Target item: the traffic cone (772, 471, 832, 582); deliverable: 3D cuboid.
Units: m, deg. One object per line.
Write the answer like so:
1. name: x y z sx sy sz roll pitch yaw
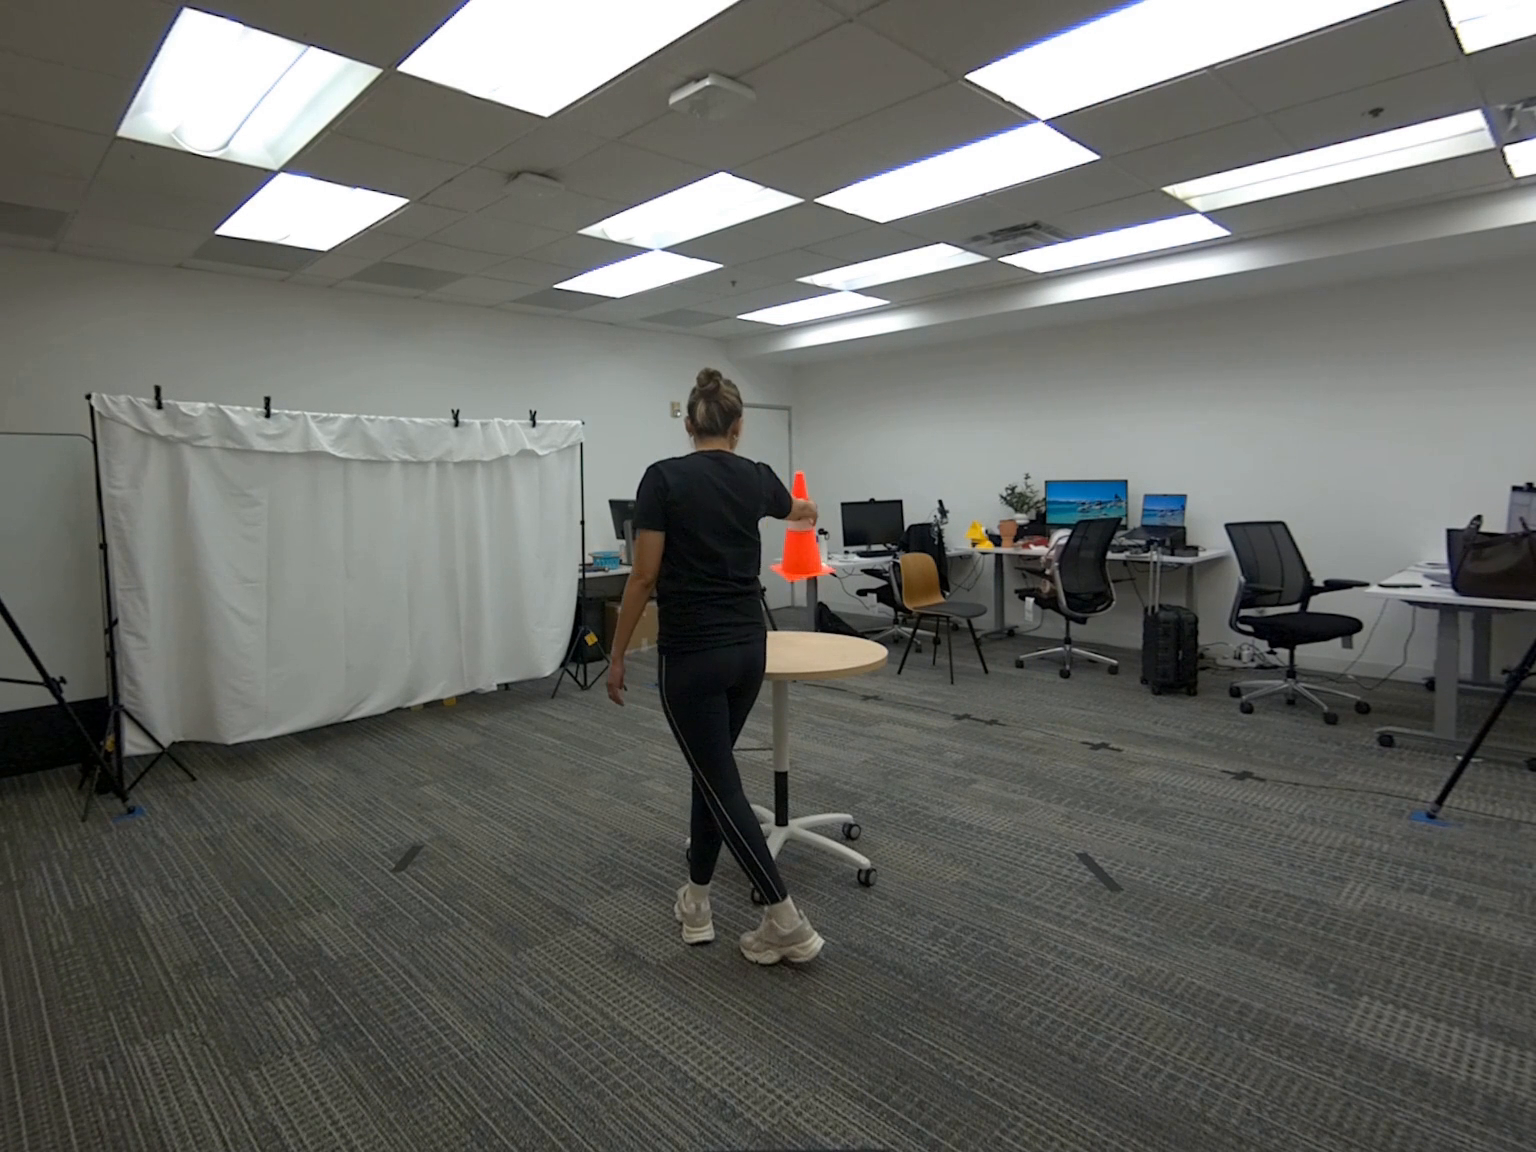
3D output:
1. traffic cone: 0.126 -0.207 3.243 0.200 0.377 0.212 -11 19 -22
